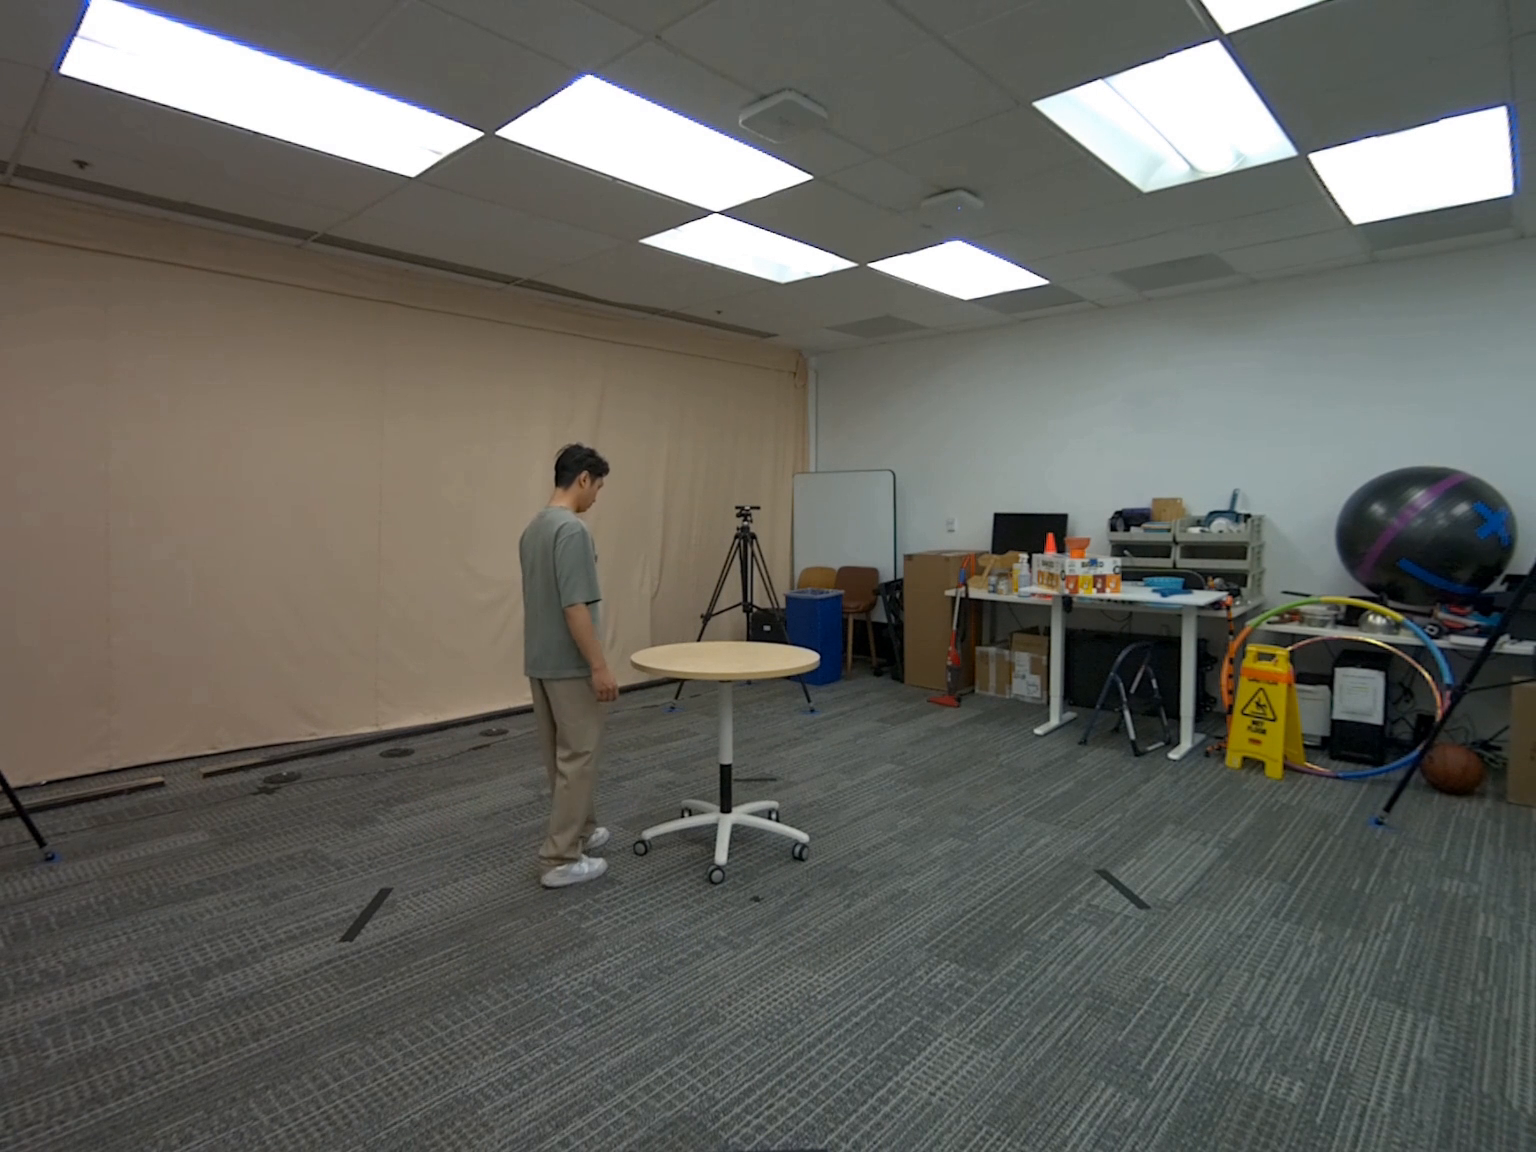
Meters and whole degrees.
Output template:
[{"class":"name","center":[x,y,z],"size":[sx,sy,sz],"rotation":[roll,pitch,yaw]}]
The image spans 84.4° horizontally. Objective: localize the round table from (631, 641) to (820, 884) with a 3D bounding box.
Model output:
[{"class":"round table","center":[-0.172,0.713,3.449],"size":[0.784,0.785,0.787],"rotation":[0,3,-2]}]
